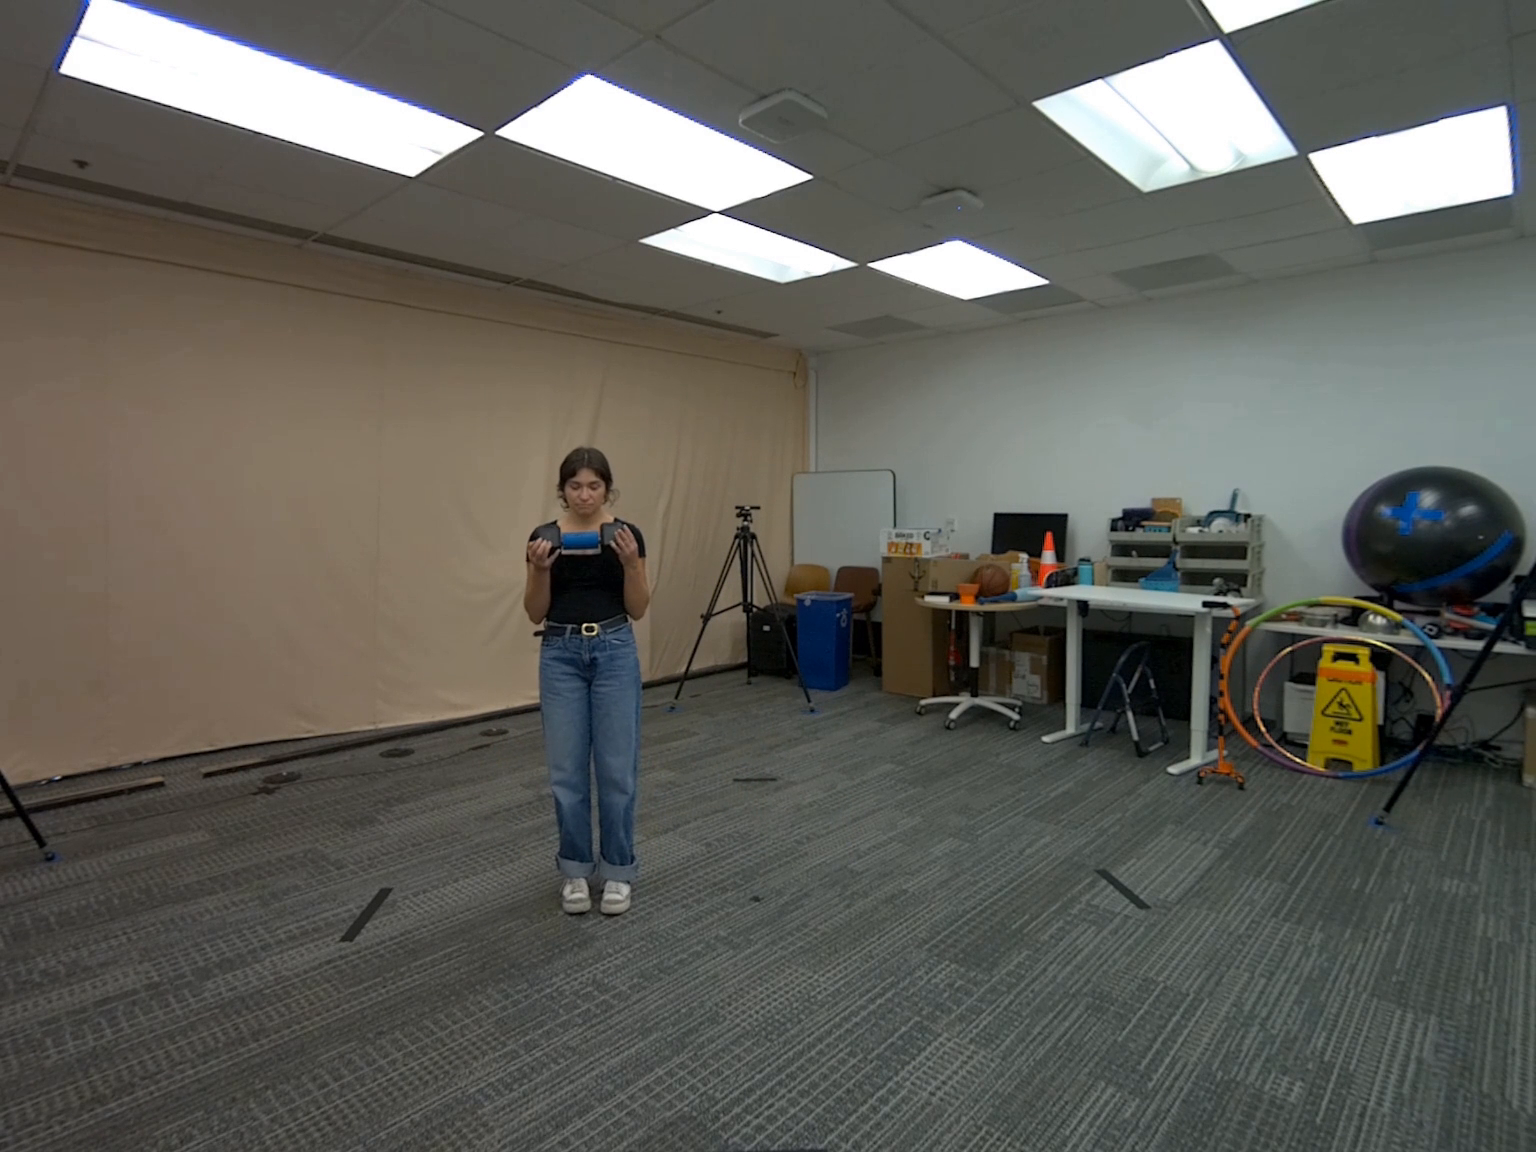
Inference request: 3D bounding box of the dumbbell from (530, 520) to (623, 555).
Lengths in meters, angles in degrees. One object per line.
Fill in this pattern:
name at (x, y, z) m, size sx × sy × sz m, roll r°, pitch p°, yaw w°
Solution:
dumbbell at (-0.639, -0.115, 2.847) m, size 0.291 × 0.124 × 0.108 m, roll -2°, pitch -14°, yaw -9°
